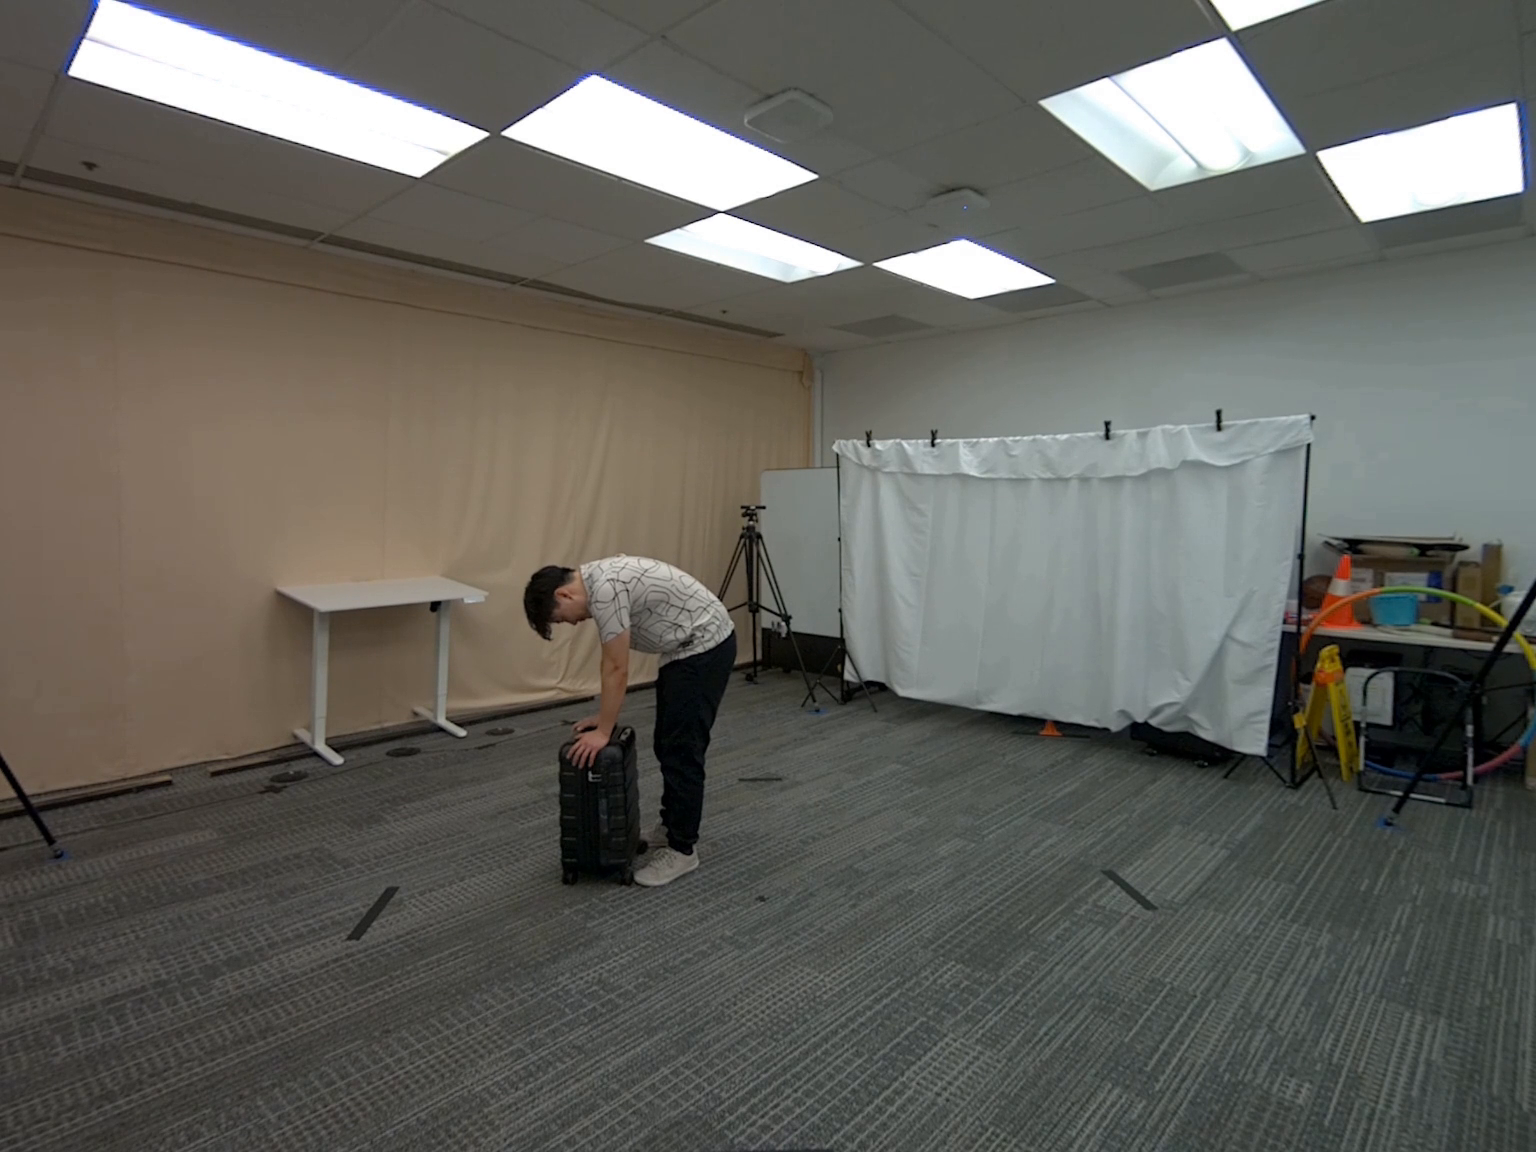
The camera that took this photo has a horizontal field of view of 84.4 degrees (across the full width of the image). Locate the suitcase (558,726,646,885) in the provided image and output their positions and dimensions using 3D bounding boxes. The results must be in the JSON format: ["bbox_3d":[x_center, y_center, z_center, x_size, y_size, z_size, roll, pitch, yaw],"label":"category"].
[{"bbox_3d":[-0.644,0.857,3.224,0.249,0.548,0.375,-3,4,2],"label":"suitcase"}]
